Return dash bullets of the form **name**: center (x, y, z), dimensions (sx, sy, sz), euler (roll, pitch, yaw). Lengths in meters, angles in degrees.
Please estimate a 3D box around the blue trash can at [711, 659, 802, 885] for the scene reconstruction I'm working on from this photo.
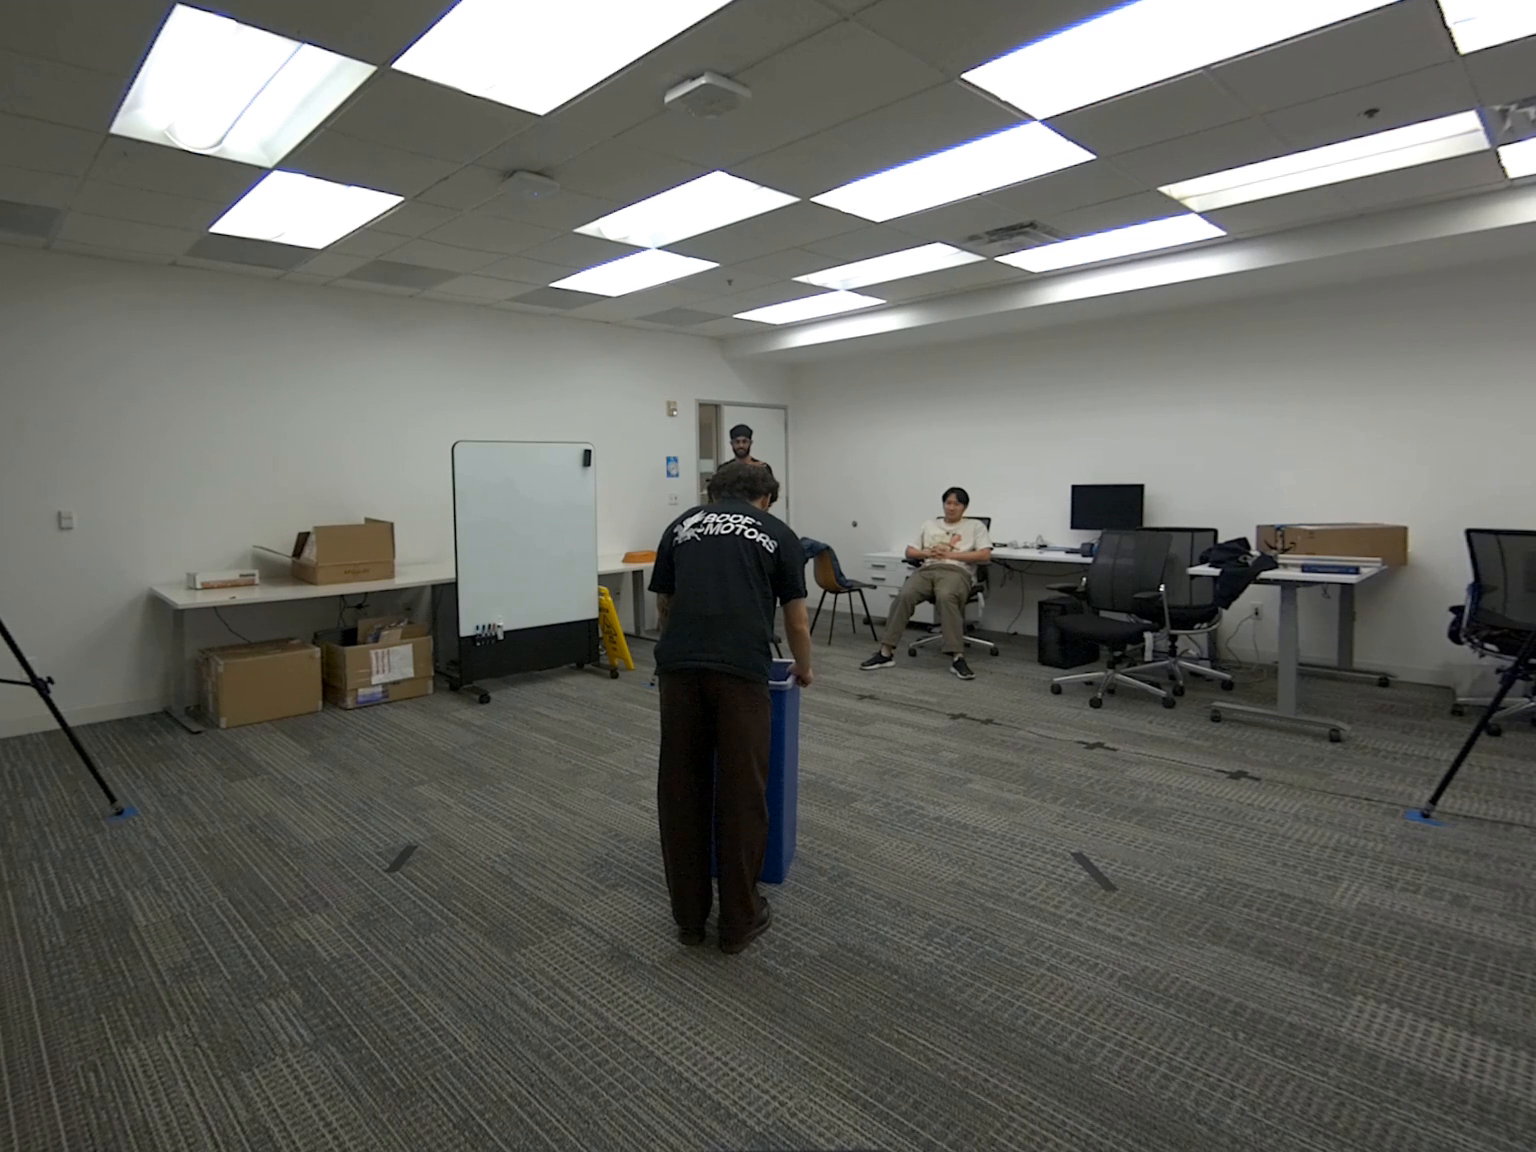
- **blue trash can**: center (-0.060, 0.687, 3.098), dimensions (0.379, 0.711, 0.375), euler (0, 5, 12)
